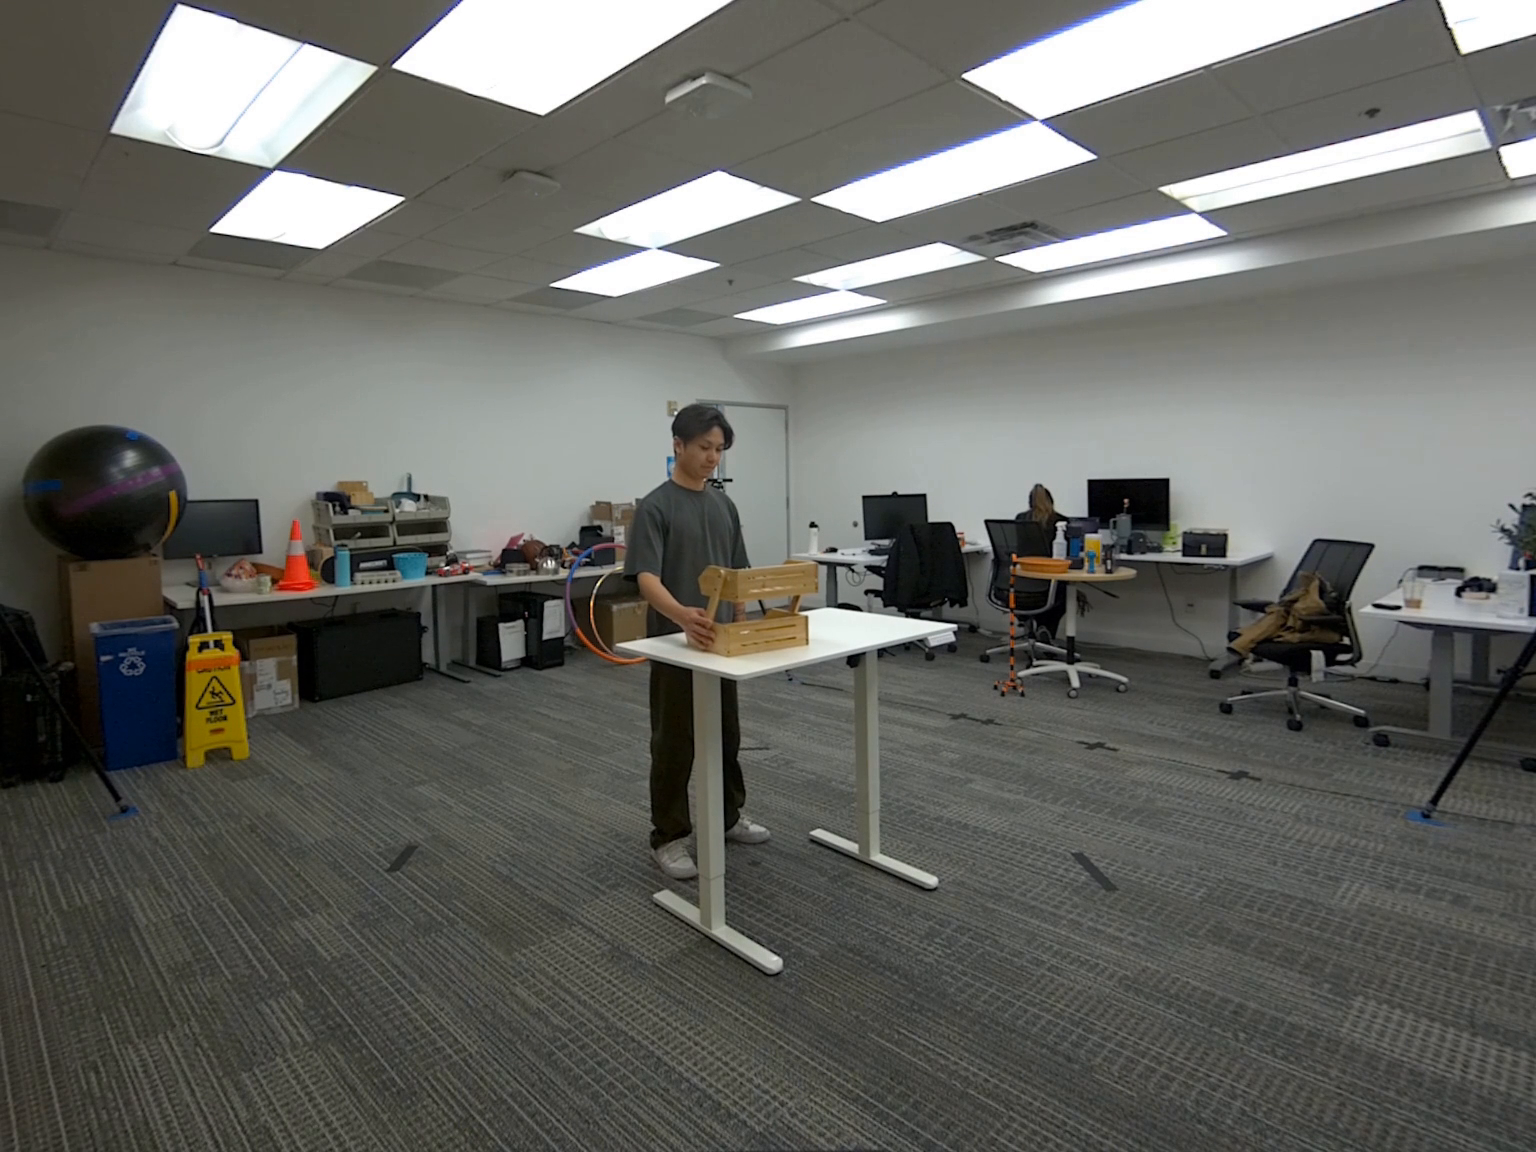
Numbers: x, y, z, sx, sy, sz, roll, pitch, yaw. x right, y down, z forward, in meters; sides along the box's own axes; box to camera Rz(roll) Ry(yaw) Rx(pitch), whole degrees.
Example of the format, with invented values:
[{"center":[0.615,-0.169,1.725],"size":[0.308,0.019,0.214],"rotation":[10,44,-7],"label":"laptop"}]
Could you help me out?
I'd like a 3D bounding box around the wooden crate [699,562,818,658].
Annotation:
[{"center":[-0.052,0.083,2.639],"size":[0.316,0.272,0.311],"rotation":[-5,7,-33],"label":"wooden crate"}]
